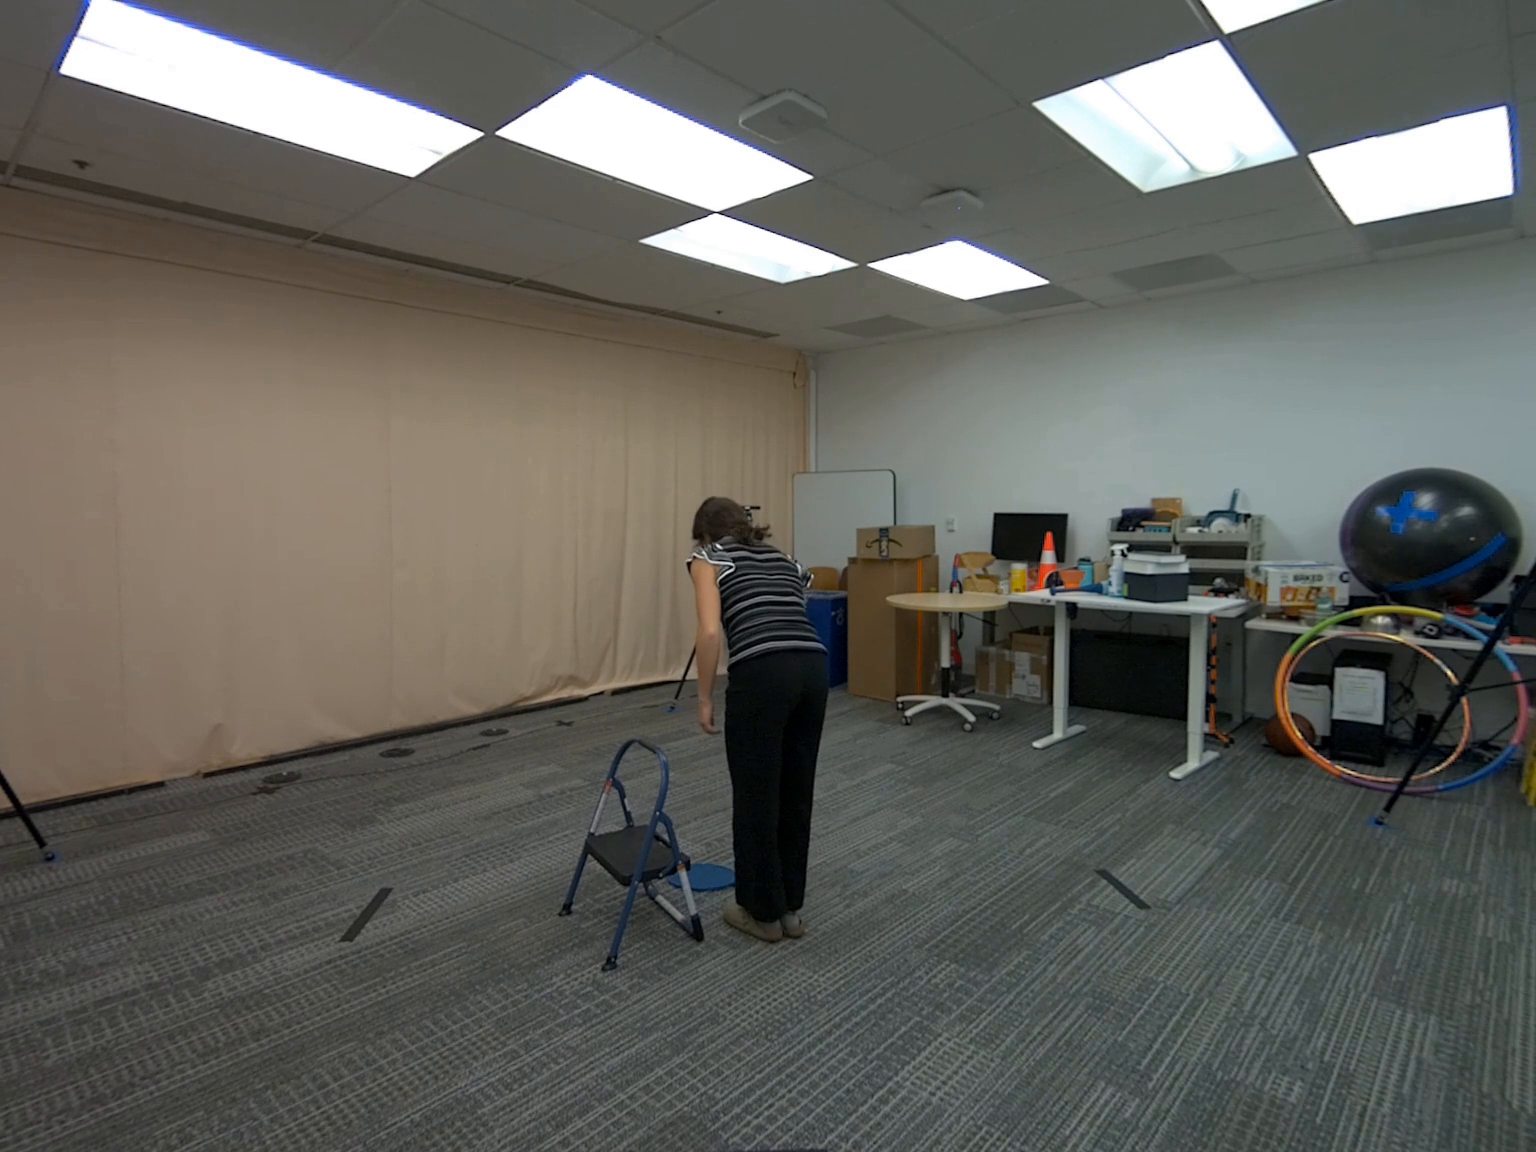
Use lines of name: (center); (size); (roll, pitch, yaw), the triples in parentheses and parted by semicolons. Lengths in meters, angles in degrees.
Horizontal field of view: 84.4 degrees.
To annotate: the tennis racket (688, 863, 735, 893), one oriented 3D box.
tennis racket: (-0.163, 1.115, 3.118); (0.440, 0.031, 0.211); (-1, 5, 14)
